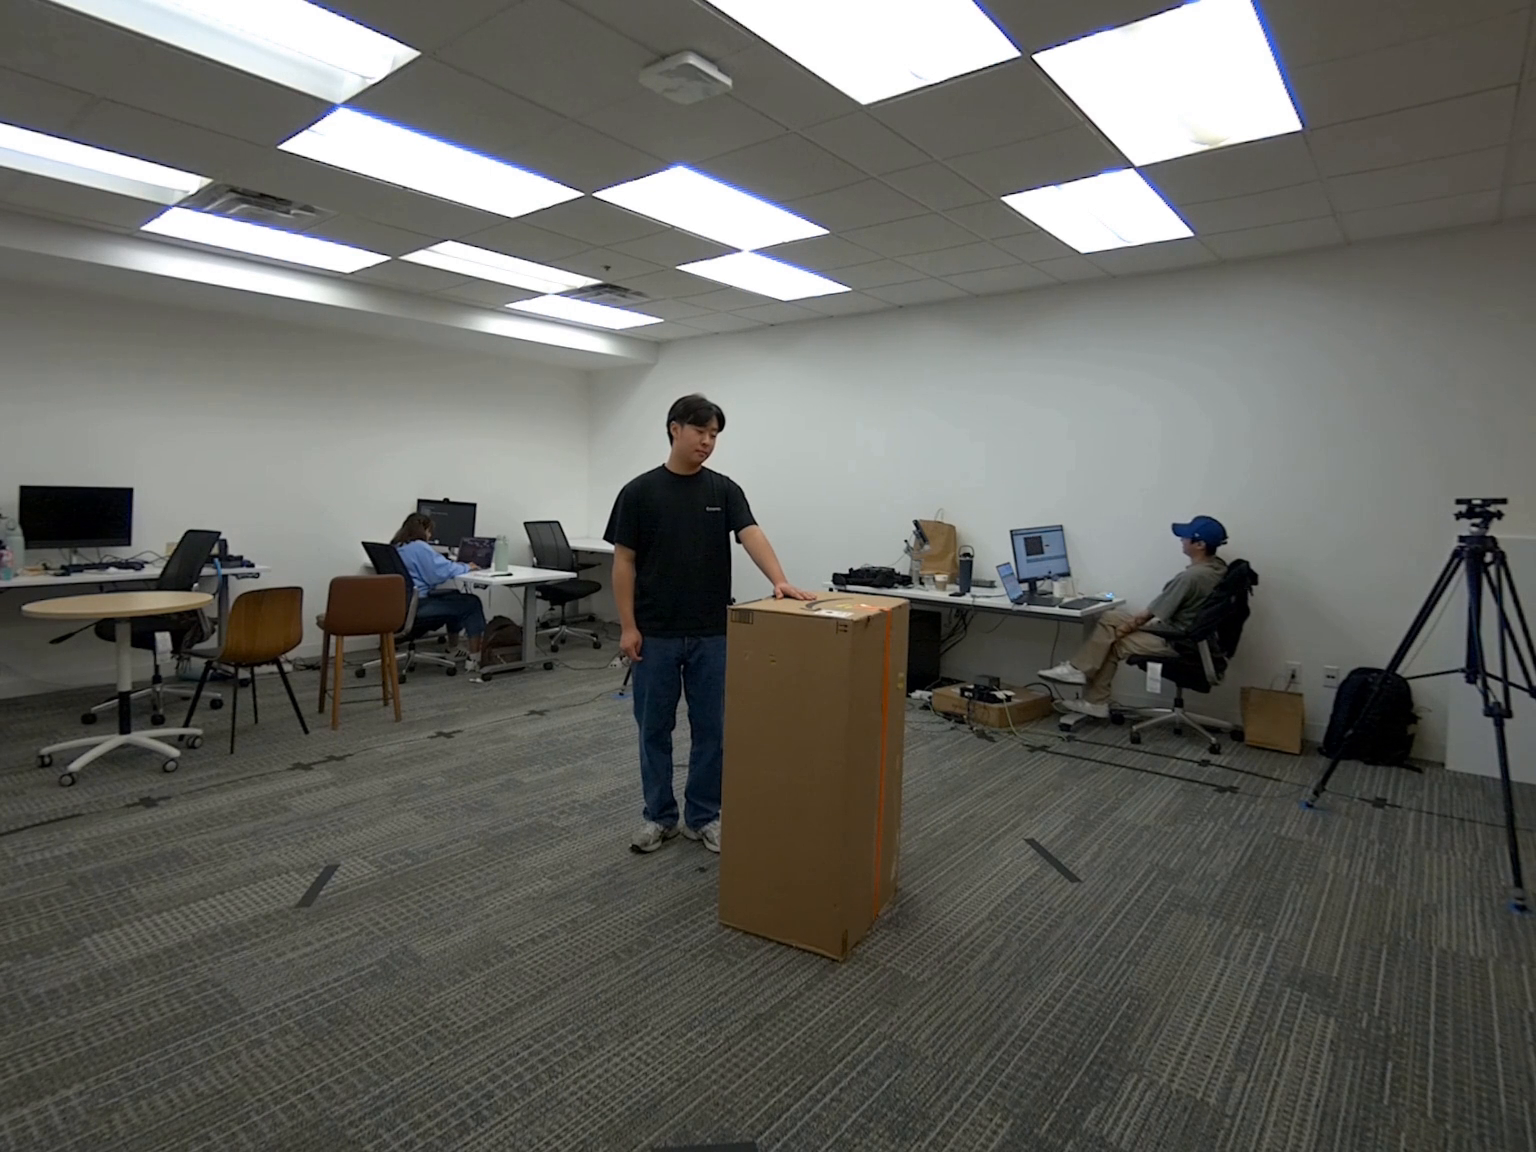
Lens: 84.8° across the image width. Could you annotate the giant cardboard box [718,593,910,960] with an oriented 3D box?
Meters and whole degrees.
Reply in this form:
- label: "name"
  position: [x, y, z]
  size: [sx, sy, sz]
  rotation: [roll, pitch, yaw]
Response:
- label: "giant cardboard box"
  position: [0.163, 0.590, 2.836]
  size: [0.460, 1.024, 0.569]
  rotation: [4, 4, 28]
